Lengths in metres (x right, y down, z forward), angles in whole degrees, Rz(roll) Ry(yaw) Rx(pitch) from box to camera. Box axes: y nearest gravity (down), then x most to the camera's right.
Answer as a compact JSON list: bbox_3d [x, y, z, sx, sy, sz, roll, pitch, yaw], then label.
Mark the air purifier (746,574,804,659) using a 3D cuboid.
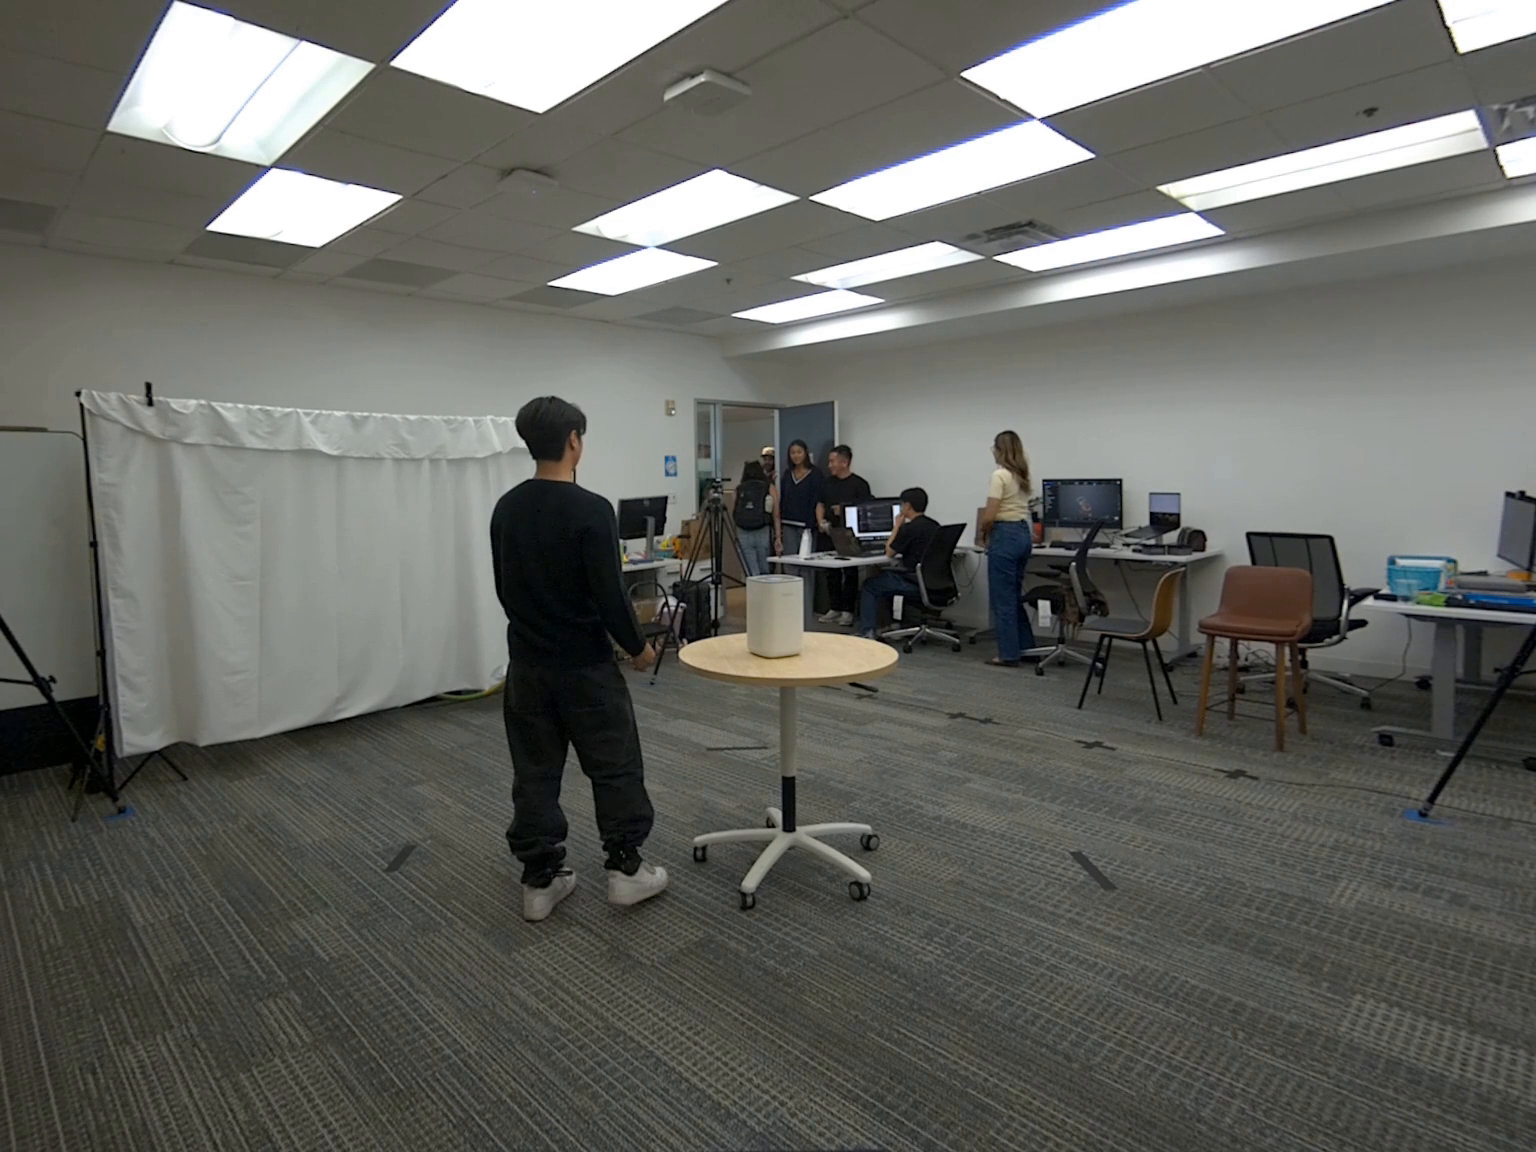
[{"bbox_3d":[0.024,0.135,2.965,0.167,0.264,0.177,-4,6,-32],"label":"air purifier"}]
